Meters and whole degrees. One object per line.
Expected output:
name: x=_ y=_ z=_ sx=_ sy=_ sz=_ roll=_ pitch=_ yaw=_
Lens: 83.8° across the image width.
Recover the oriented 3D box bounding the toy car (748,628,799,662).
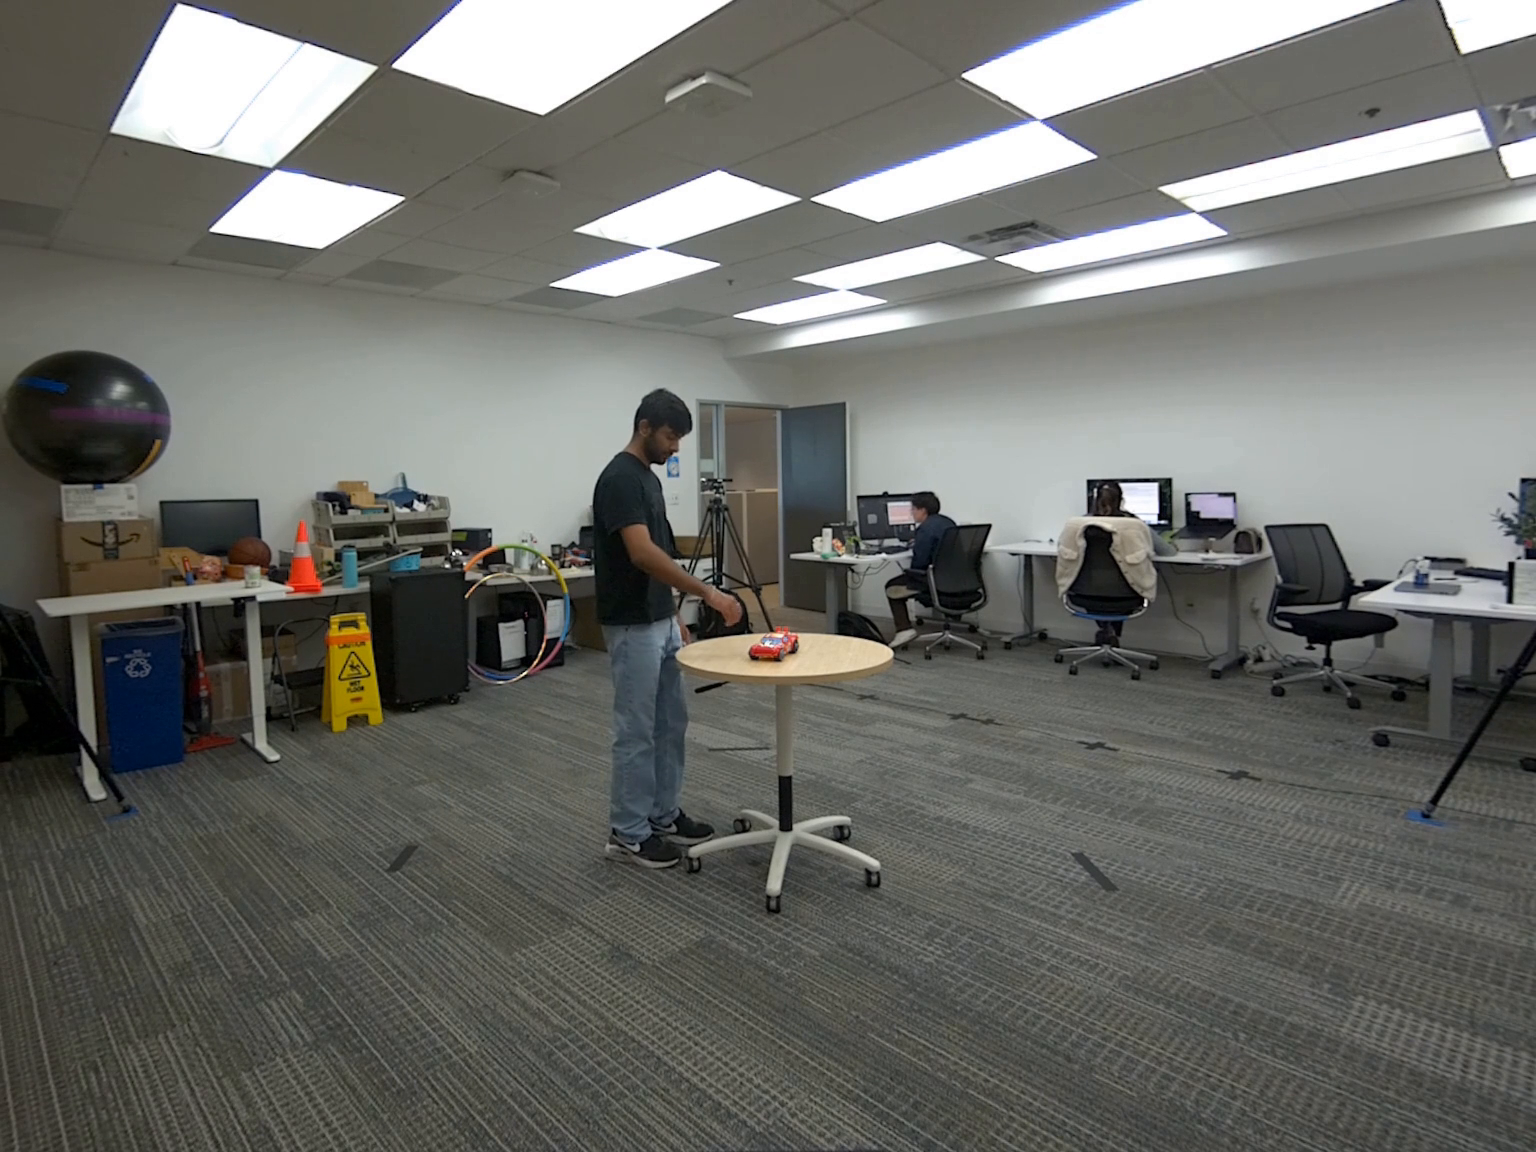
toy car: x=0.031 y=0.244 z=2.968 sx=0.133 sy=0.082 sz=0.253 roll=0 pitch=16 yaw=22
